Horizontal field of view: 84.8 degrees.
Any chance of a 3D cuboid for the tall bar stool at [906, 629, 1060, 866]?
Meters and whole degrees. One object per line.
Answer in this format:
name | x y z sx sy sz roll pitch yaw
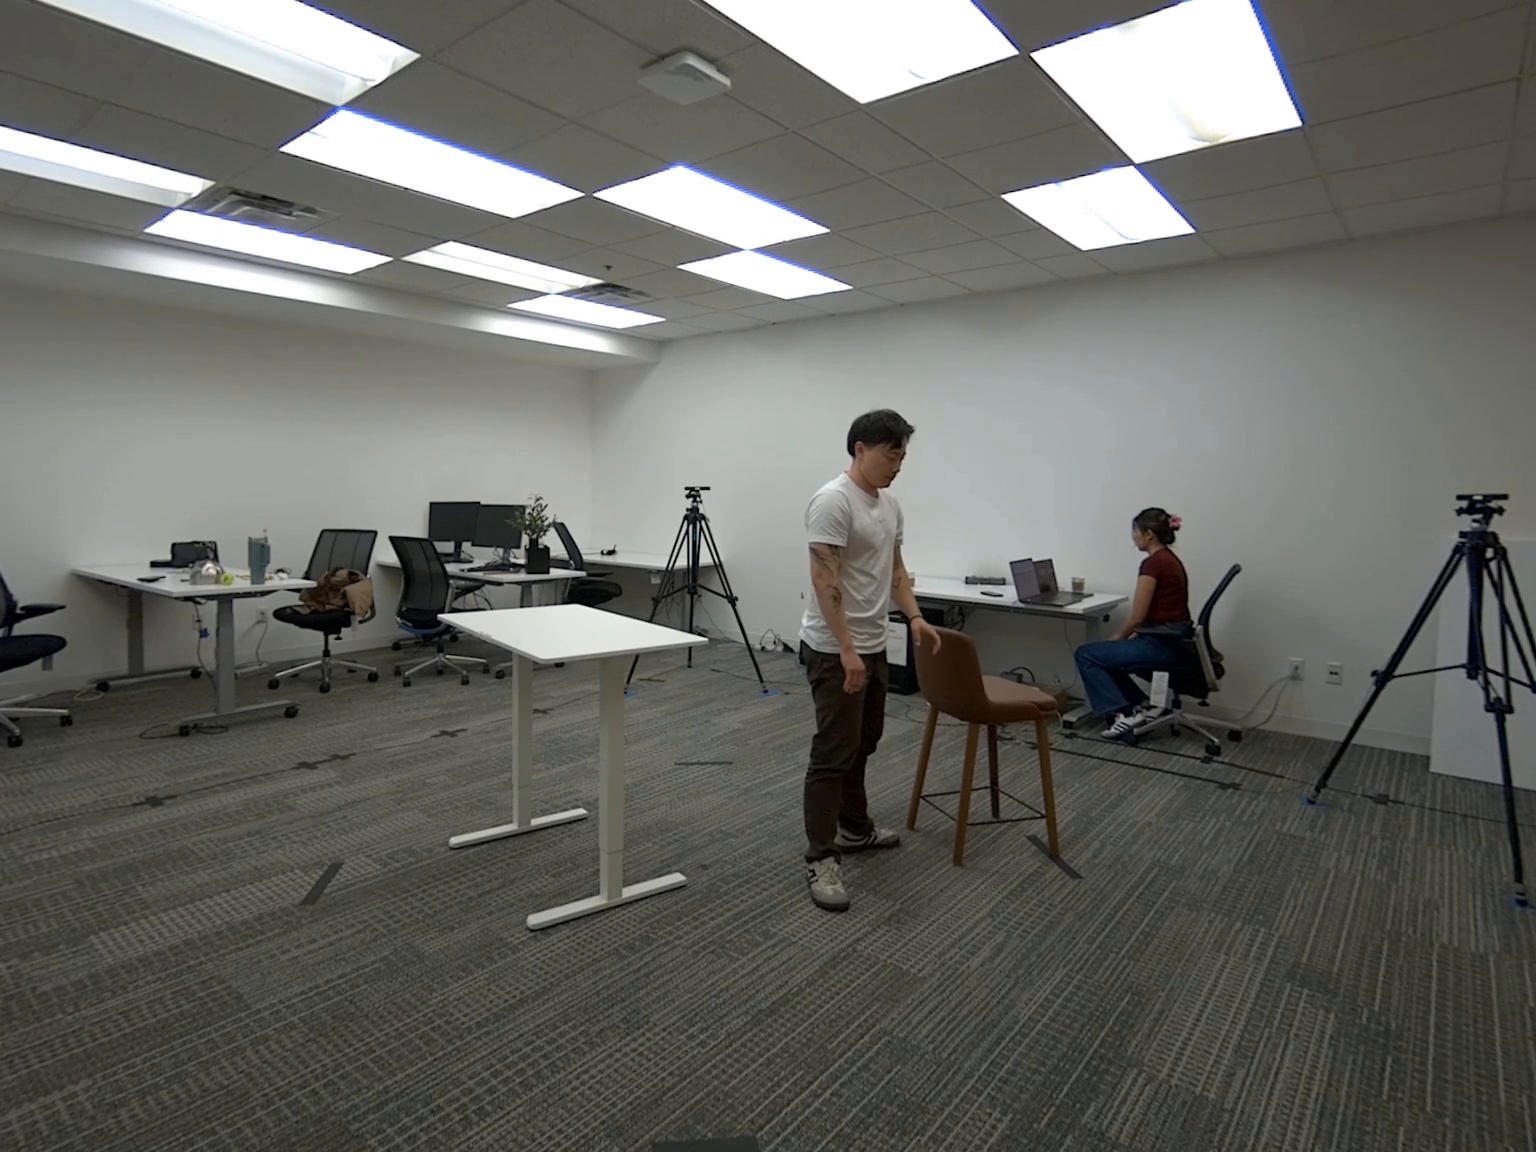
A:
tall bar stool | 0.844 0.624 3.388 0.459 0.886 0.467 -2 5 -19
